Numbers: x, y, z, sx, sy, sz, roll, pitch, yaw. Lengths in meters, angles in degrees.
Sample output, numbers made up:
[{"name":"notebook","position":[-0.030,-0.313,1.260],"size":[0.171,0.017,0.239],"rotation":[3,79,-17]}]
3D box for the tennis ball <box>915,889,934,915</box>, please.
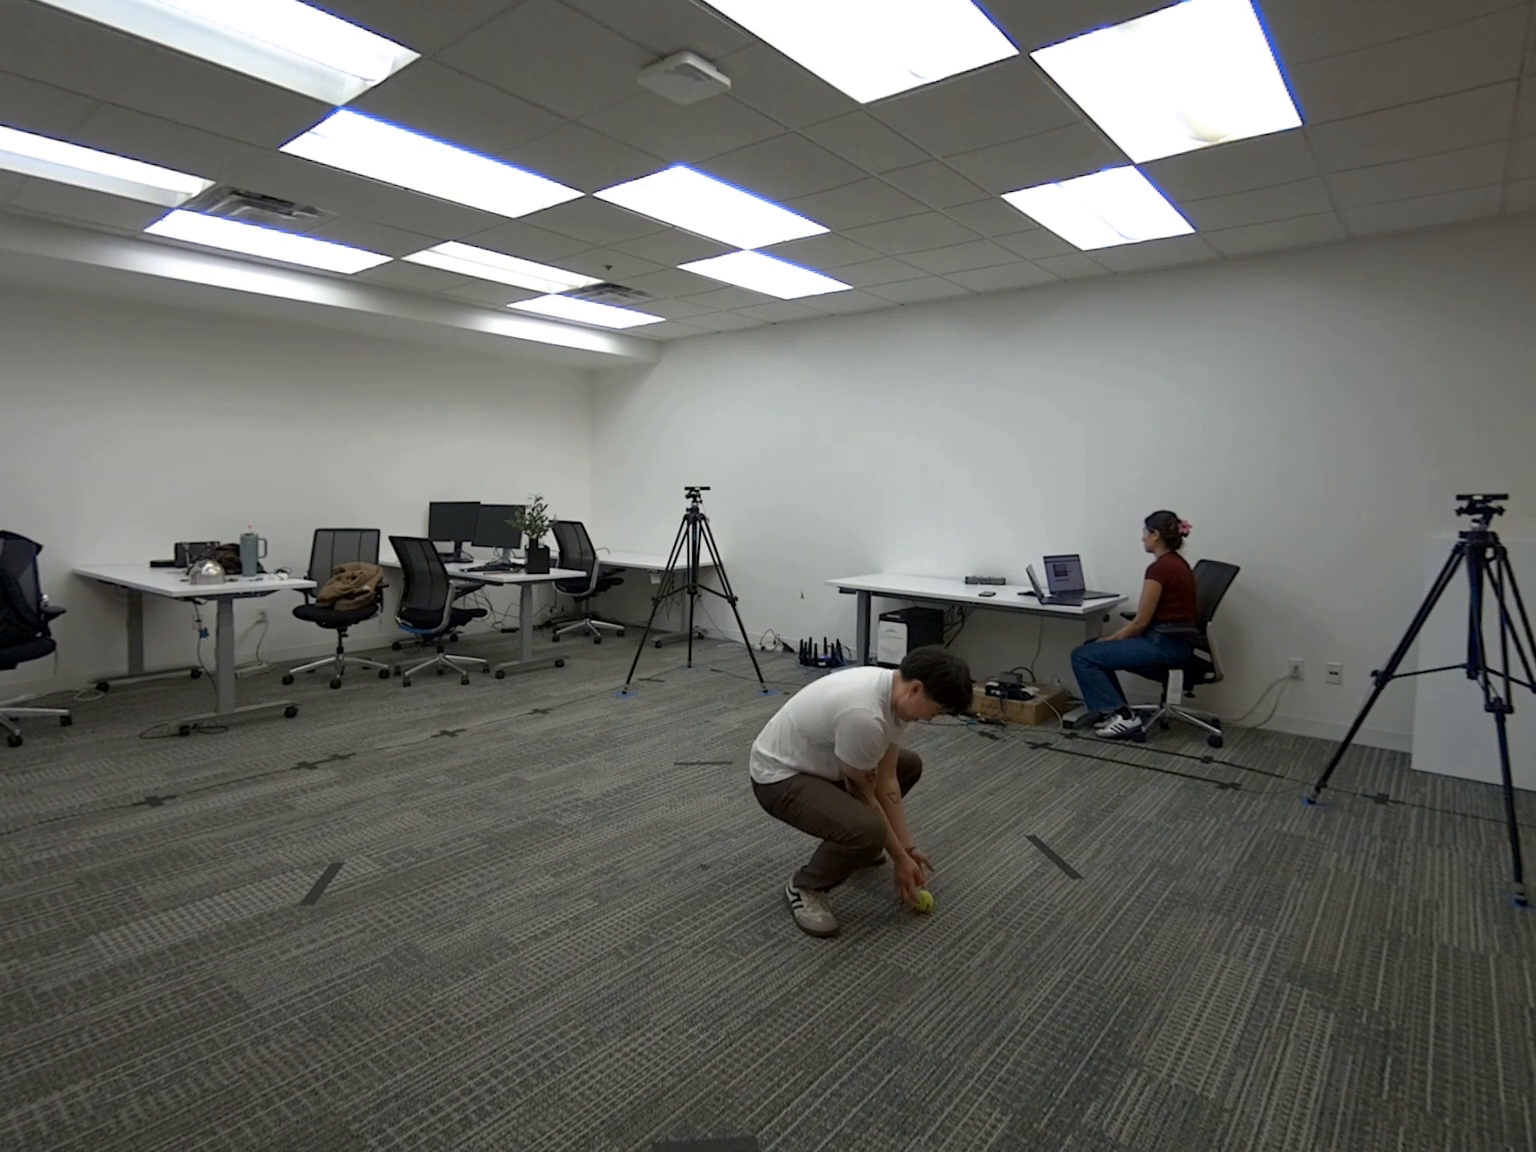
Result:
[{"name":"tennis ball","position":[0.508,1.069,2.816],"size":[0.066,0.066,0.067],"rotation":[1,4,-2]}]
